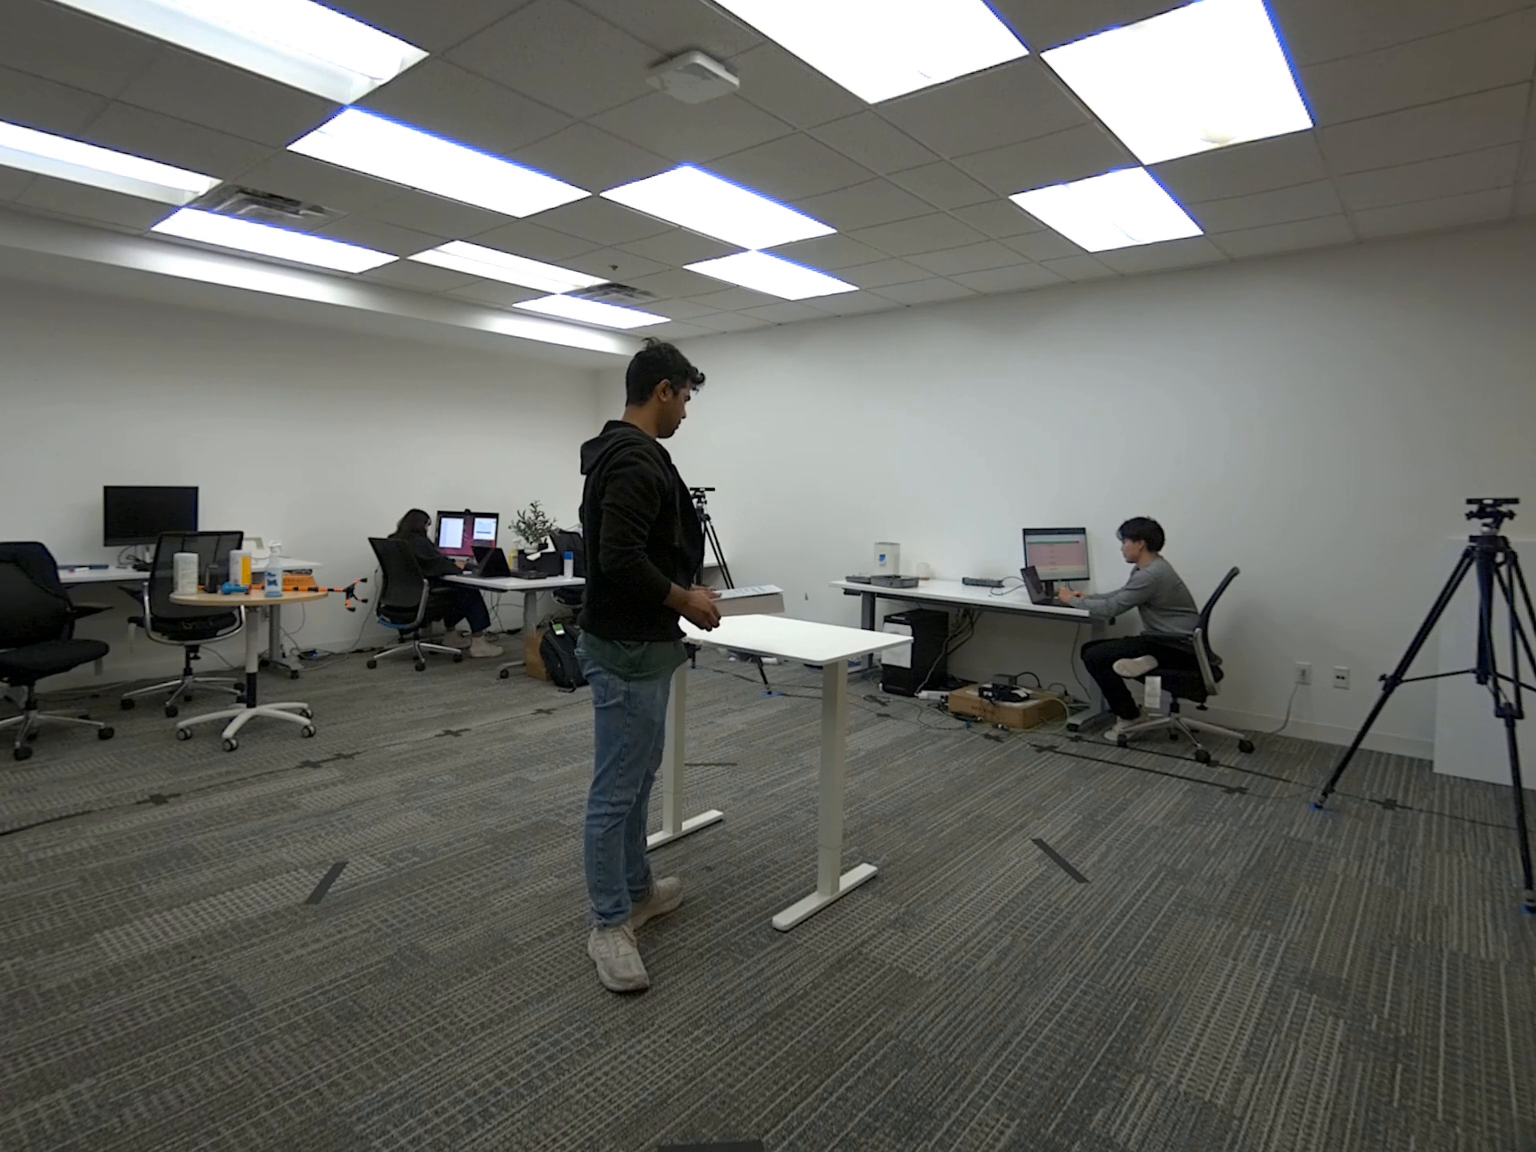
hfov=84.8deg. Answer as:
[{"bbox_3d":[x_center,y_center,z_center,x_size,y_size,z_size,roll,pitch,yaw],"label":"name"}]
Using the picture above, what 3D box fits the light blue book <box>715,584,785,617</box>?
[{"bbox_3d":[-0.112,0.086,2.576,0.258,0.058,0.195,-8,9,-12],"label":"light blue book"}]
